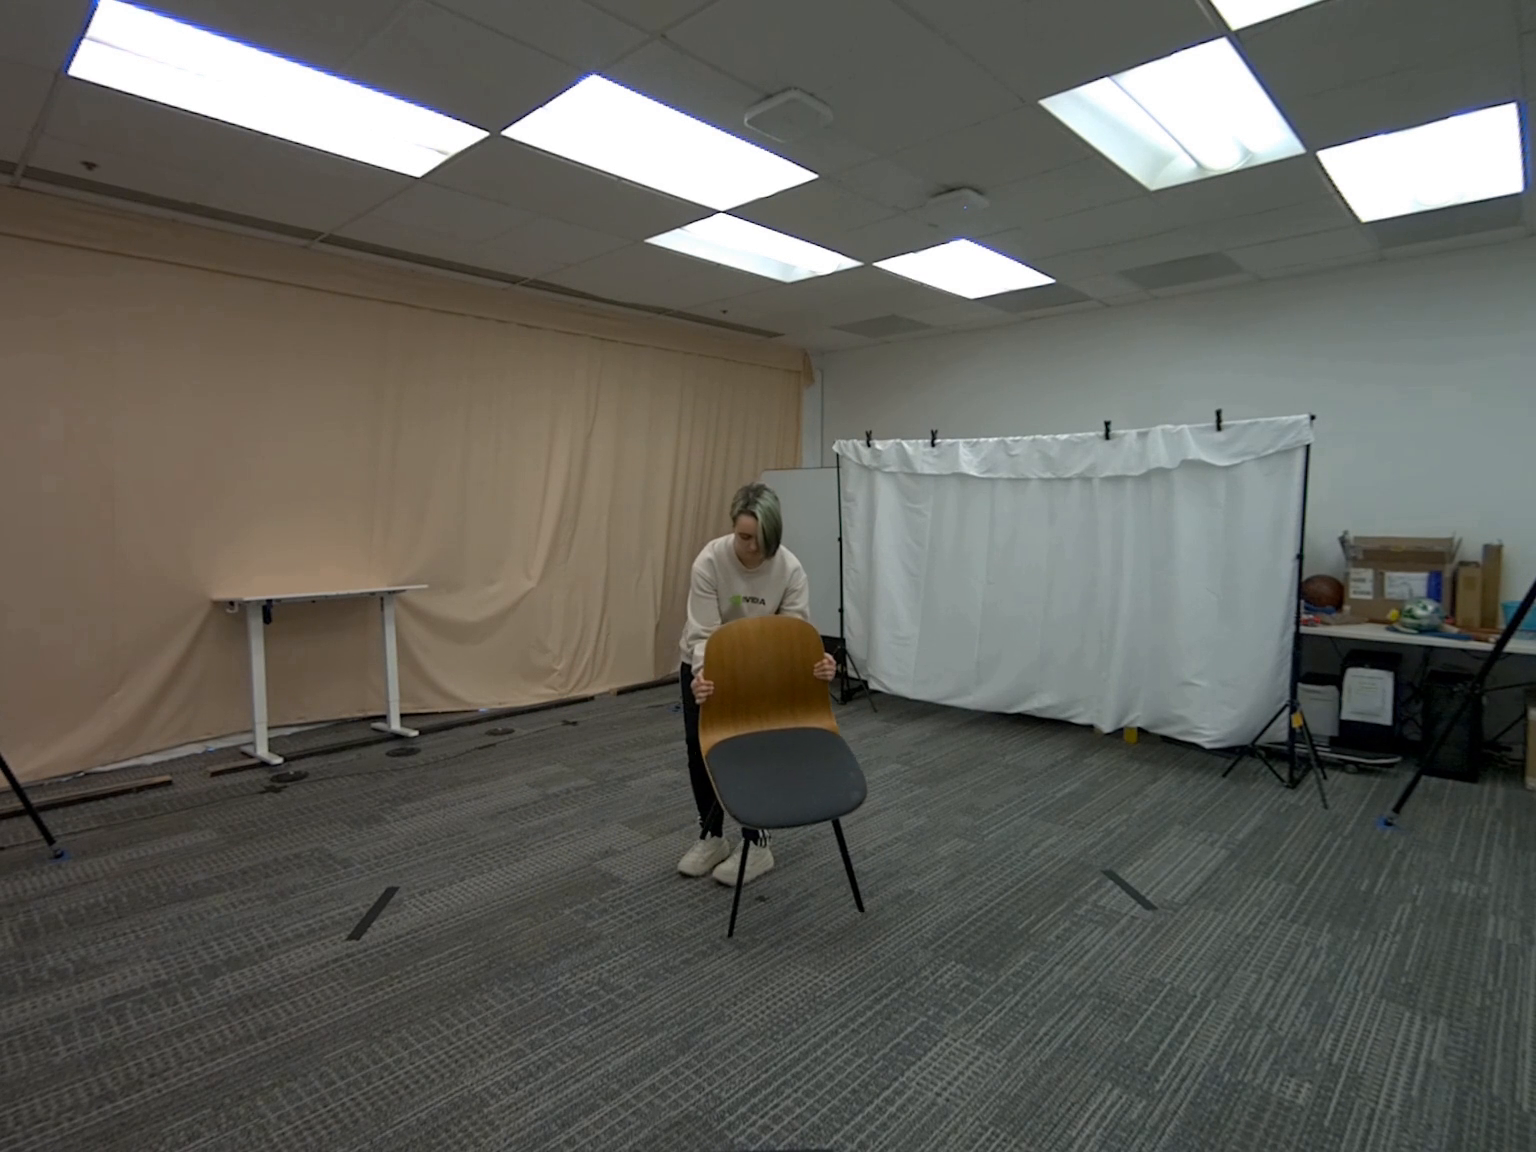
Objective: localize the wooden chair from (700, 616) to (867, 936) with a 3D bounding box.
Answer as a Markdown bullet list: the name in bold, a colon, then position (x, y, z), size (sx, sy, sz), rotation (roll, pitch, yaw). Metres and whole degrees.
- **wooden chair**: position (0.042, 0.632, 2.694), size (0.472, 0.866, 0.536), rotation (-6, 20, -13)
